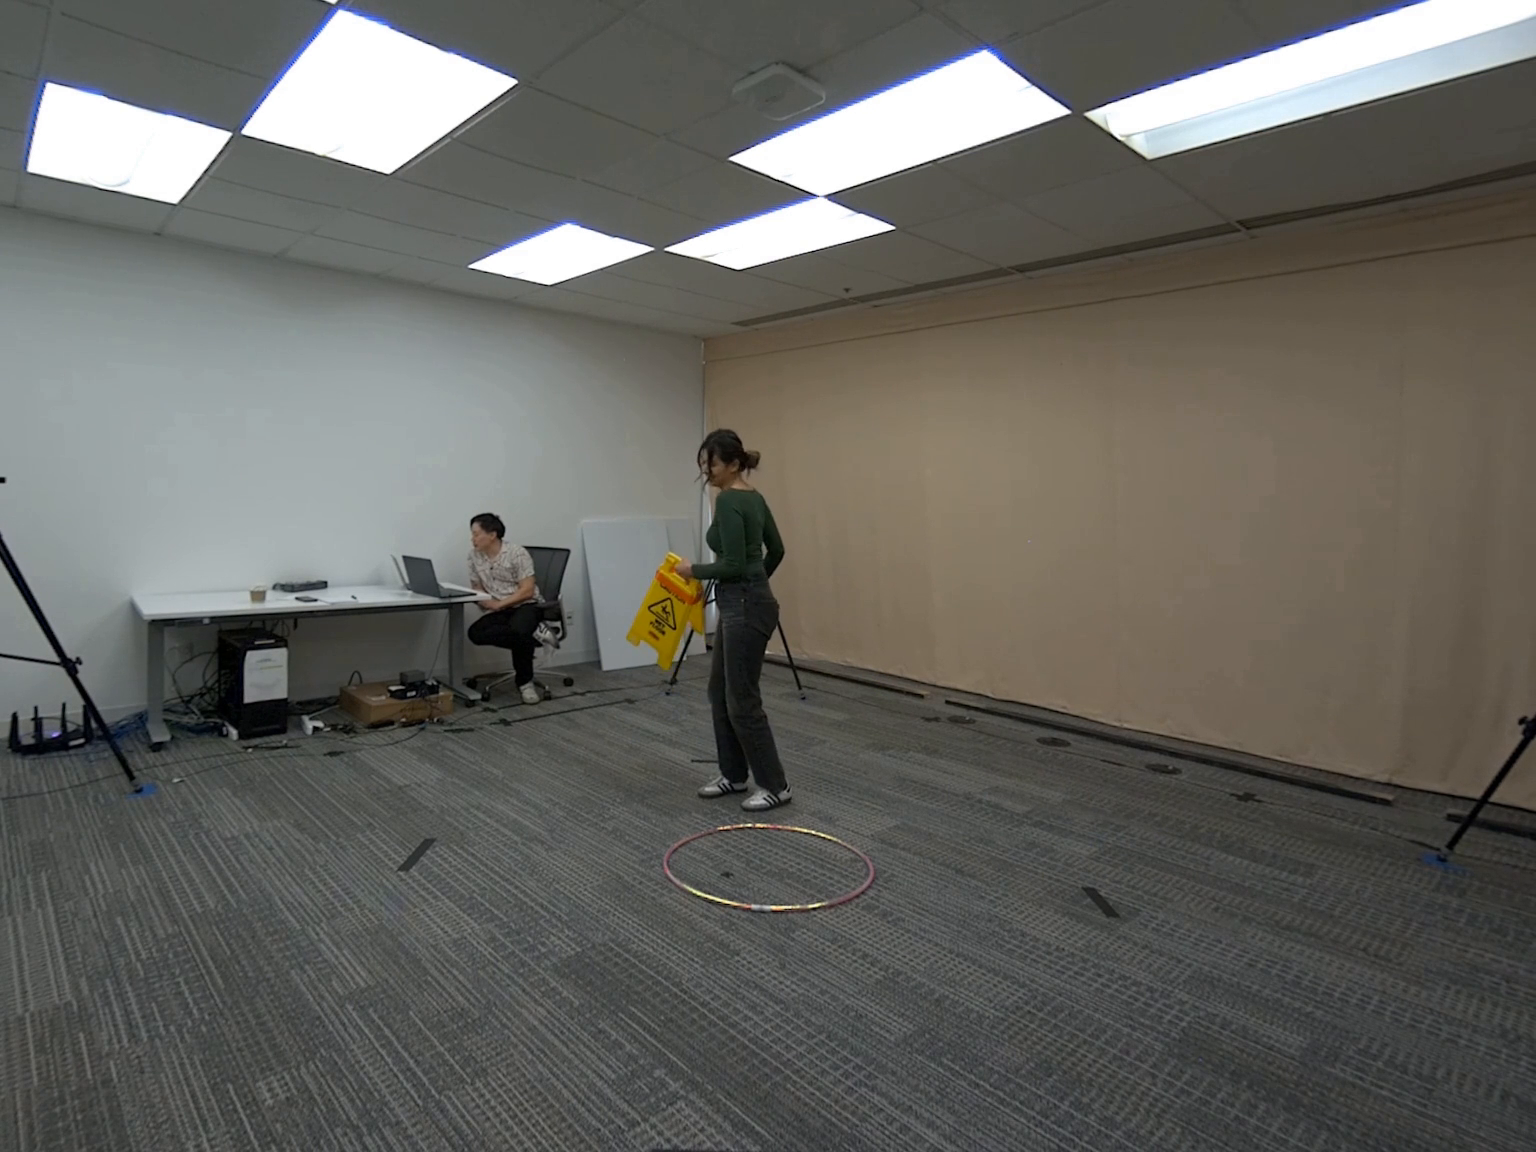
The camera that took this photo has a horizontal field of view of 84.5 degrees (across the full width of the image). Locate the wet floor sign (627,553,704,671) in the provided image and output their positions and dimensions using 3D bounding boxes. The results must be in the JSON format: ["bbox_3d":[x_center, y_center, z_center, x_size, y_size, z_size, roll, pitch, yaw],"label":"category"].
[{"bbox_3d":[-0.462,0.146,4.042,0.286,0.638,0.289,36,52,10],"label":"wet floor sign"}]
